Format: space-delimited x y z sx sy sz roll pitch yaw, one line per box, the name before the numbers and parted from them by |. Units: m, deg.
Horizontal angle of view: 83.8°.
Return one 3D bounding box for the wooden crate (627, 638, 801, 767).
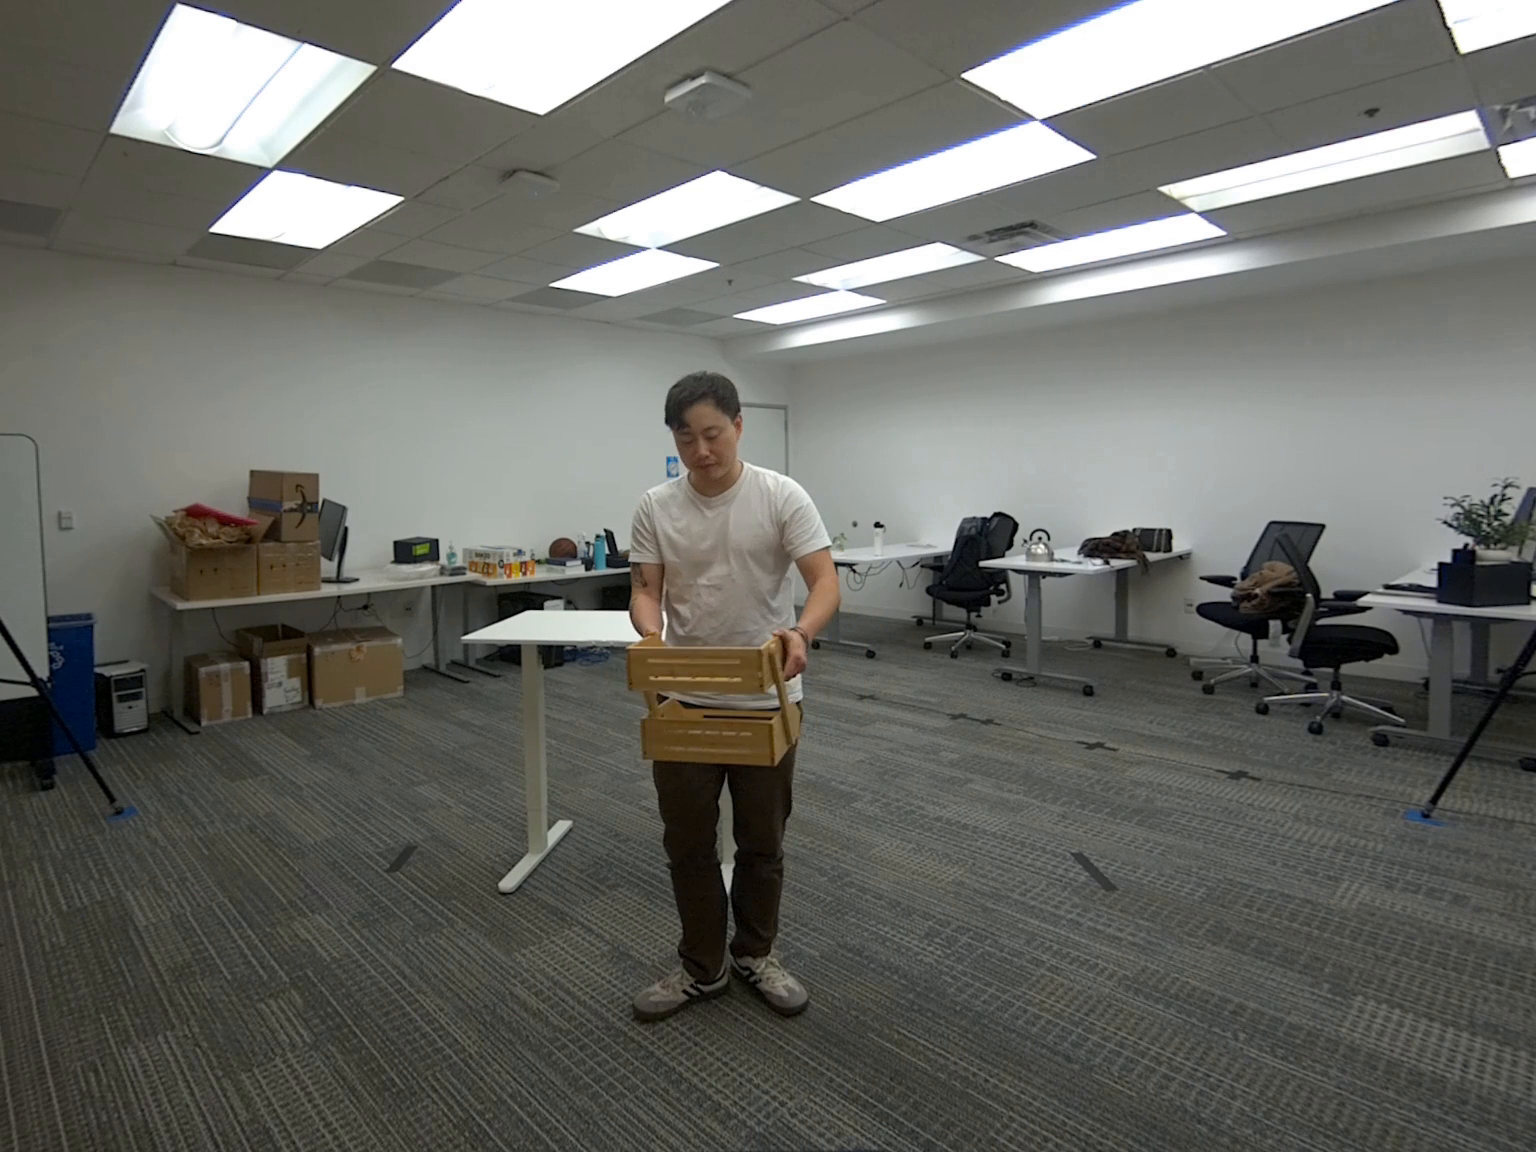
wooden crate | -0.103 0.254 1.915 0.329 0.272 0.299 -3 6 15
